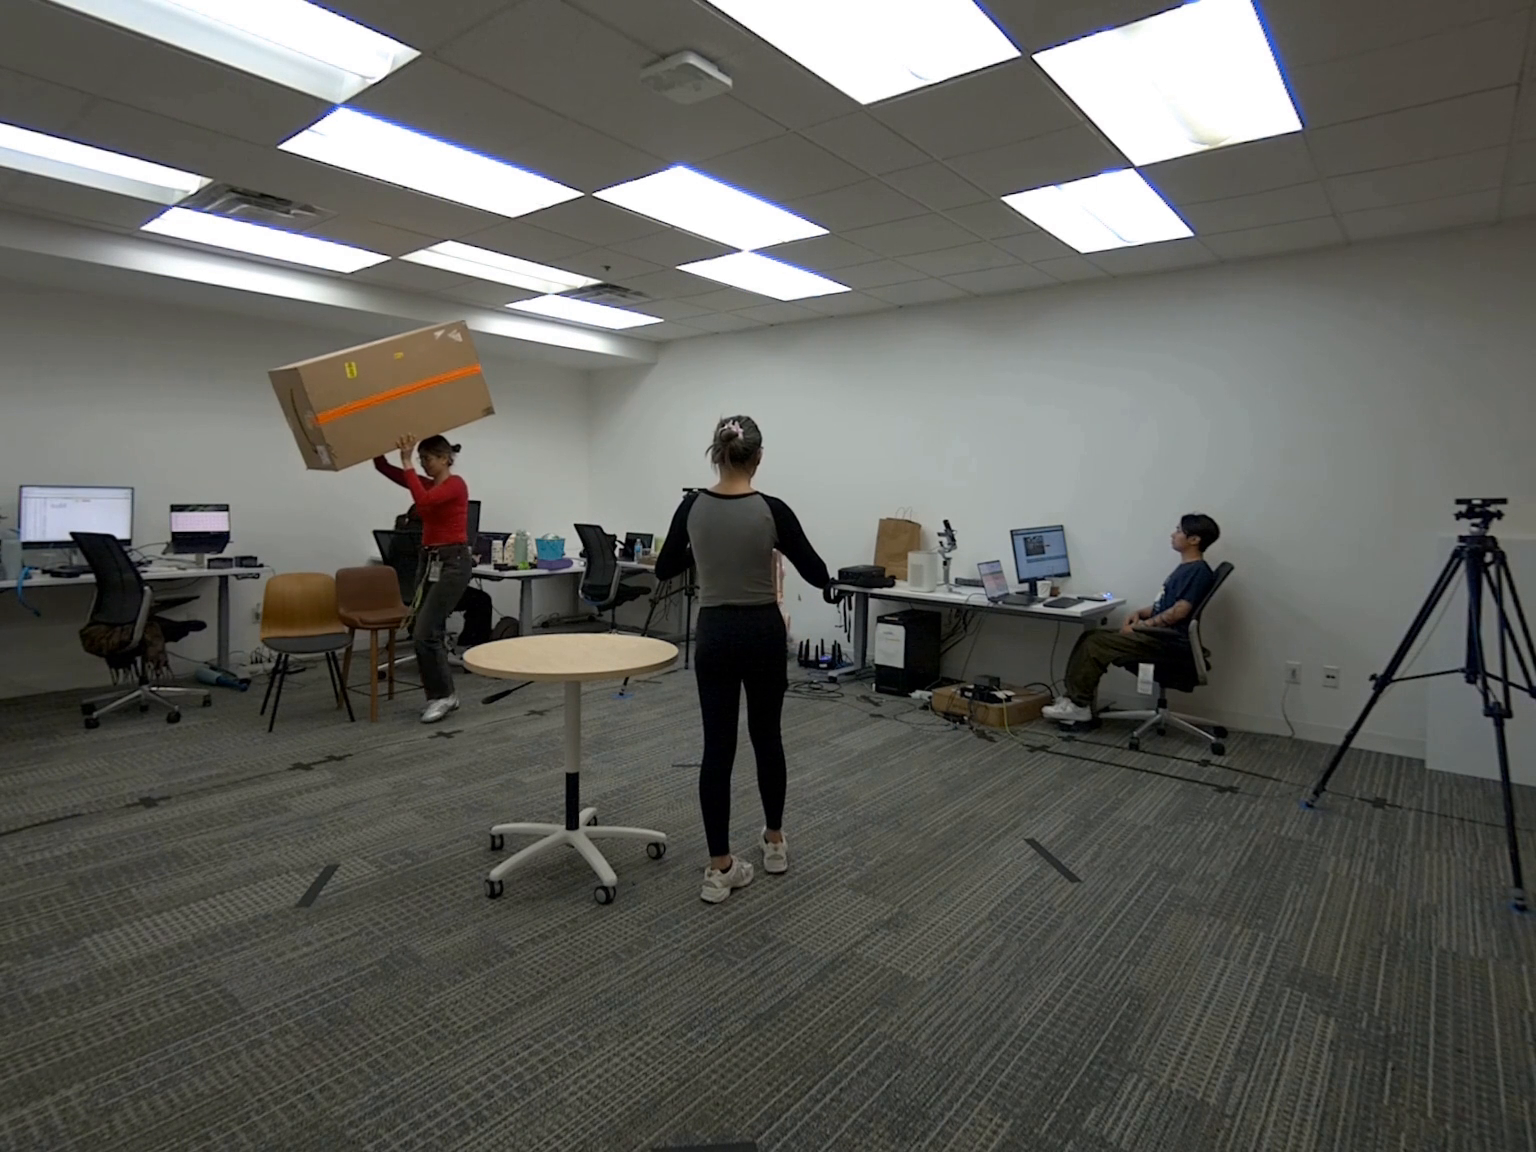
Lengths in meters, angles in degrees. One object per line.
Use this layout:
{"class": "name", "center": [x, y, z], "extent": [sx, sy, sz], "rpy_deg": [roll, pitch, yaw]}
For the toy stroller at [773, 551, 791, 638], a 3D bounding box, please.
{"class": "toy stroller", "center": [-0.049, 0.008, 3.382], "extent": [0.285, 0.524, 0.344], "rpy_deg": [3, 22, 9]}
